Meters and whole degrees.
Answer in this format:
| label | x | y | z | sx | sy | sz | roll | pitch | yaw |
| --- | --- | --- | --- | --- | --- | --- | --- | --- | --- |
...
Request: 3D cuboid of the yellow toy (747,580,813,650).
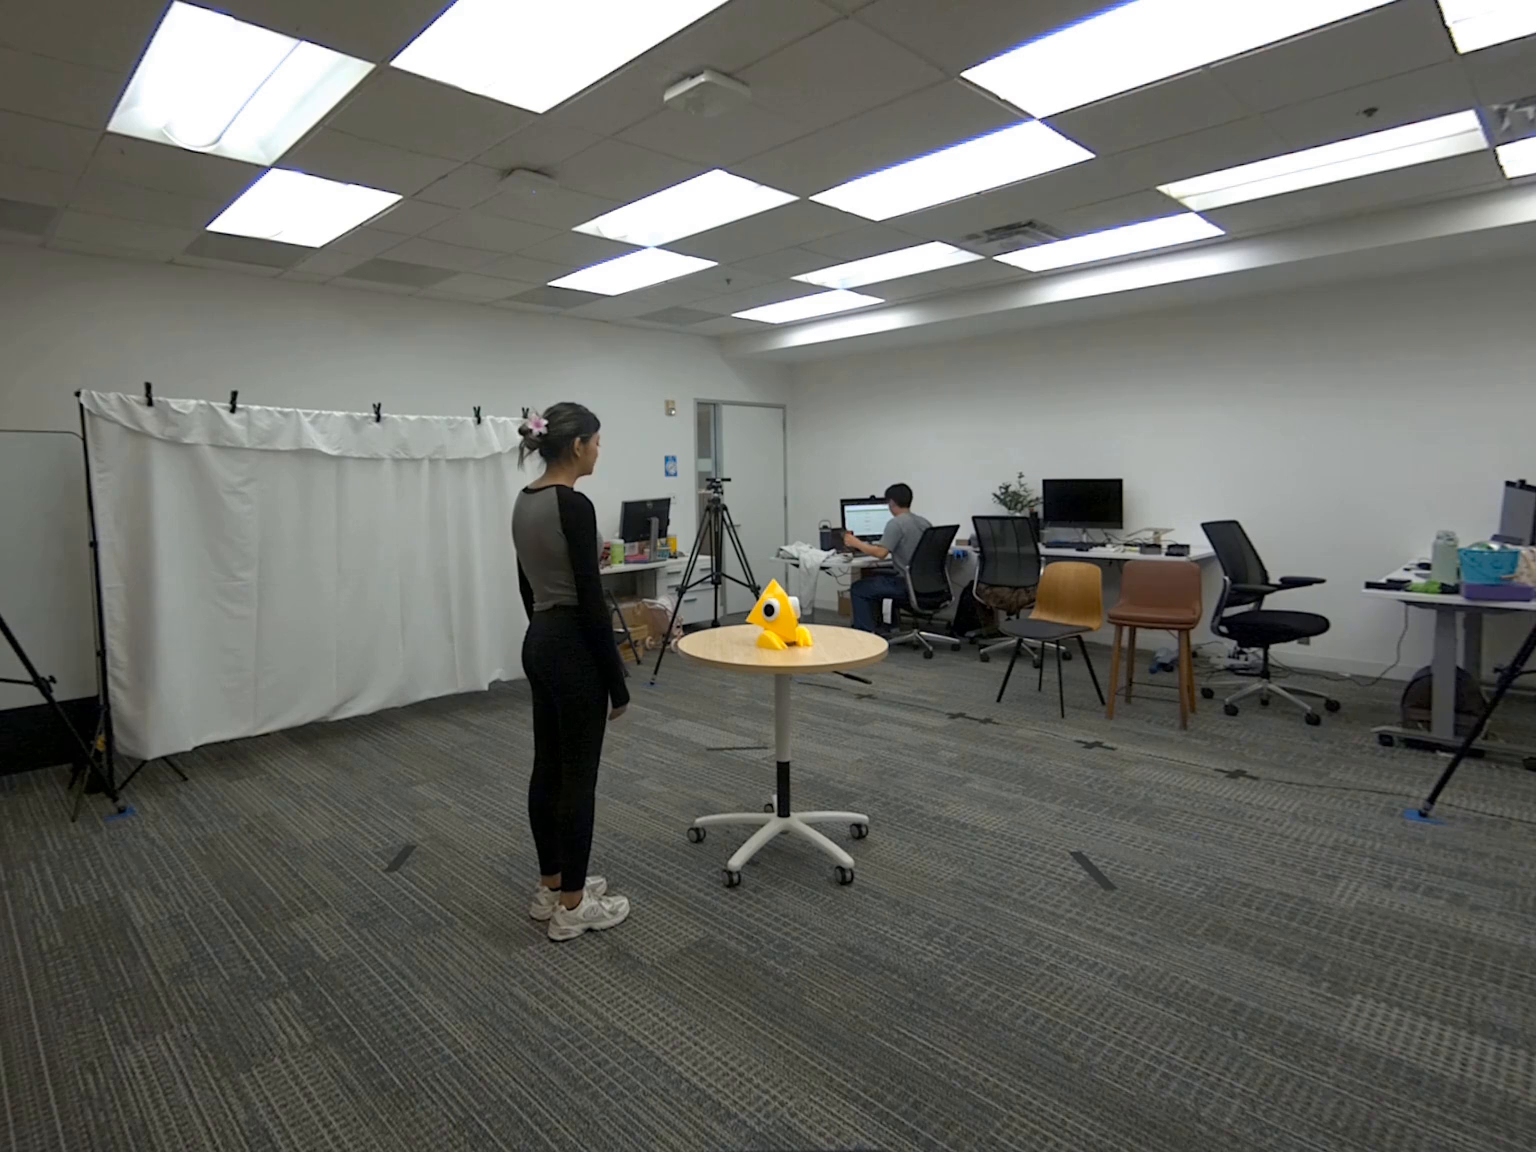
| label | x | y | z | sx | sy | sz | roll | pitch | yaw |
| --- | --- | --- | --- | --- | --- | --- | --- | --- | --- |
| yellow toy | 0.057 | 0.132 | 3.105 | 0.200 | 0.230 | 0.198 | -3 | 6 | -29 |
